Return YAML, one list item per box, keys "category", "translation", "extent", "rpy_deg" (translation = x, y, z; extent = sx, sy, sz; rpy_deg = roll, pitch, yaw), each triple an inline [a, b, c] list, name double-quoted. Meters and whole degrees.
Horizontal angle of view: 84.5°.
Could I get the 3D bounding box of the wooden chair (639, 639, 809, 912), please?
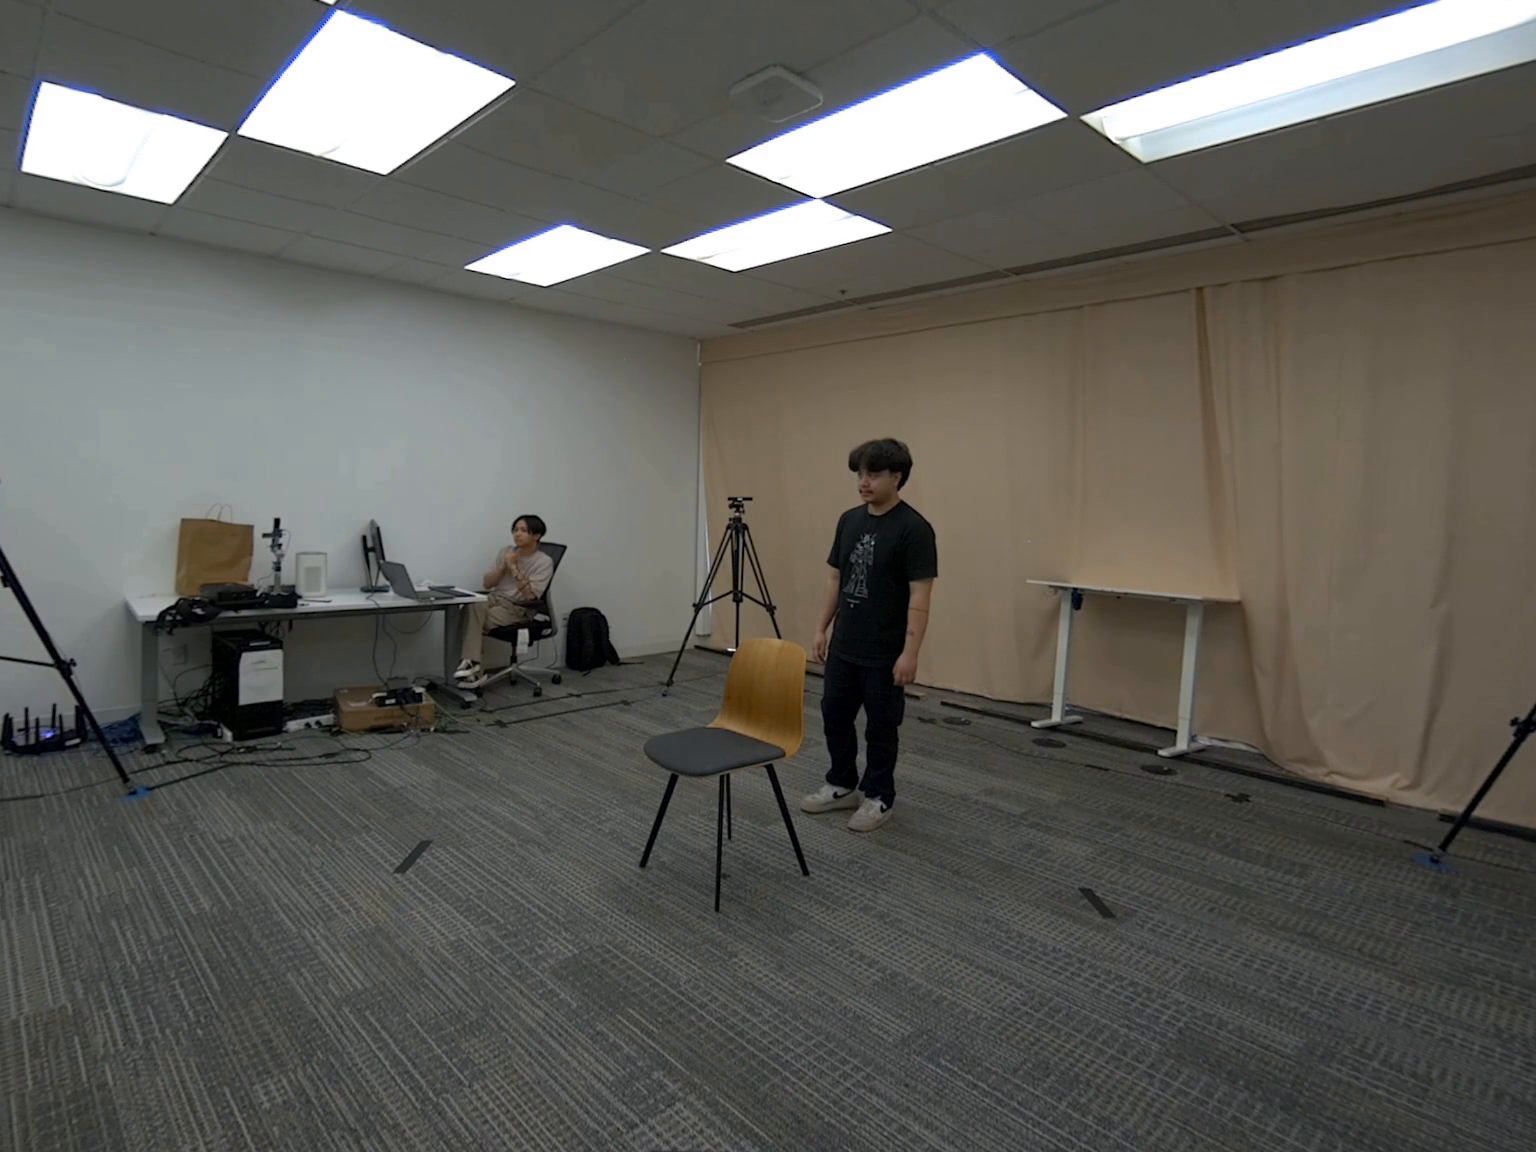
- category: "wooden chair"
  translation: [-0.165, 0.682, 3.106]
  extent: [0.510, 0.877, 0.490]
  rpy_deg: [4, 1, -43]
